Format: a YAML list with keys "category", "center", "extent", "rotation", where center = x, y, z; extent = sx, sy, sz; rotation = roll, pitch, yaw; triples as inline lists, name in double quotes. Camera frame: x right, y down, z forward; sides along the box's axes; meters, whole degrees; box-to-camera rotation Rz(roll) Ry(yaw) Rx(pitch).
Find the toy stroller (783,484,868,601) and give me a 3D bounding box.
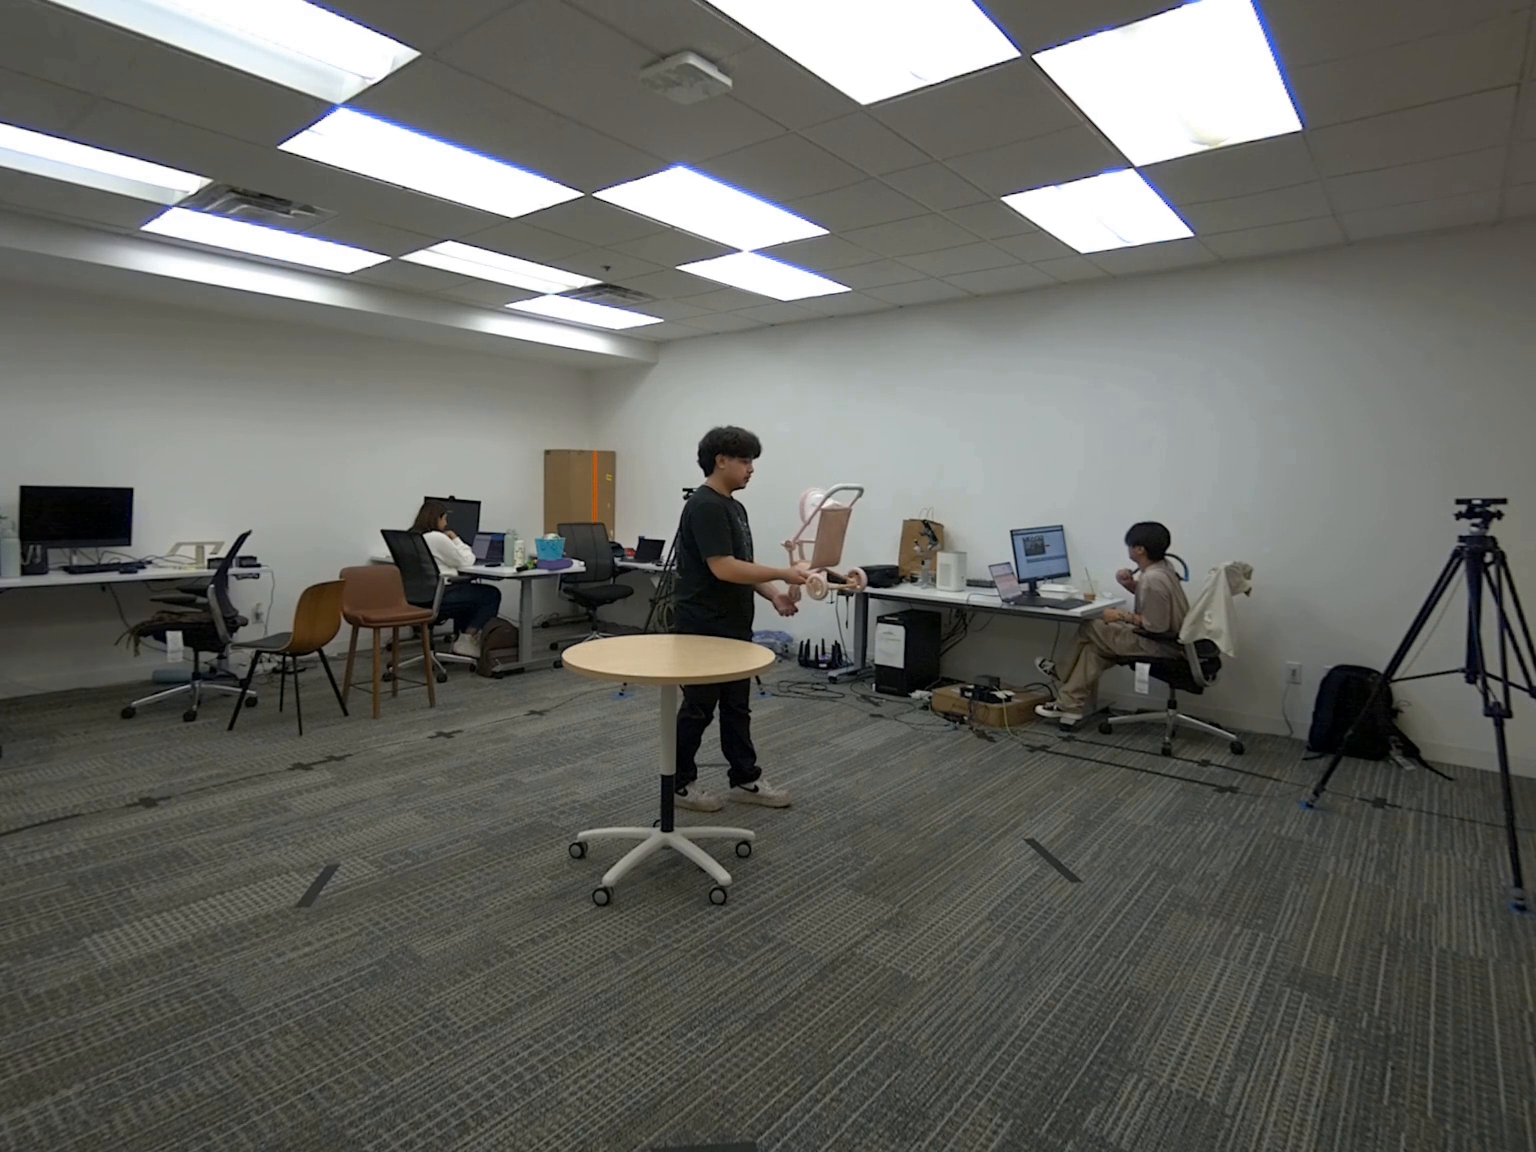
- category: "toy stroller"
  center: [0.211, -0.134, 3.582]
  extent: [0.273, 0.531, 0.353]
  rotation: [-5, 10, -38]
